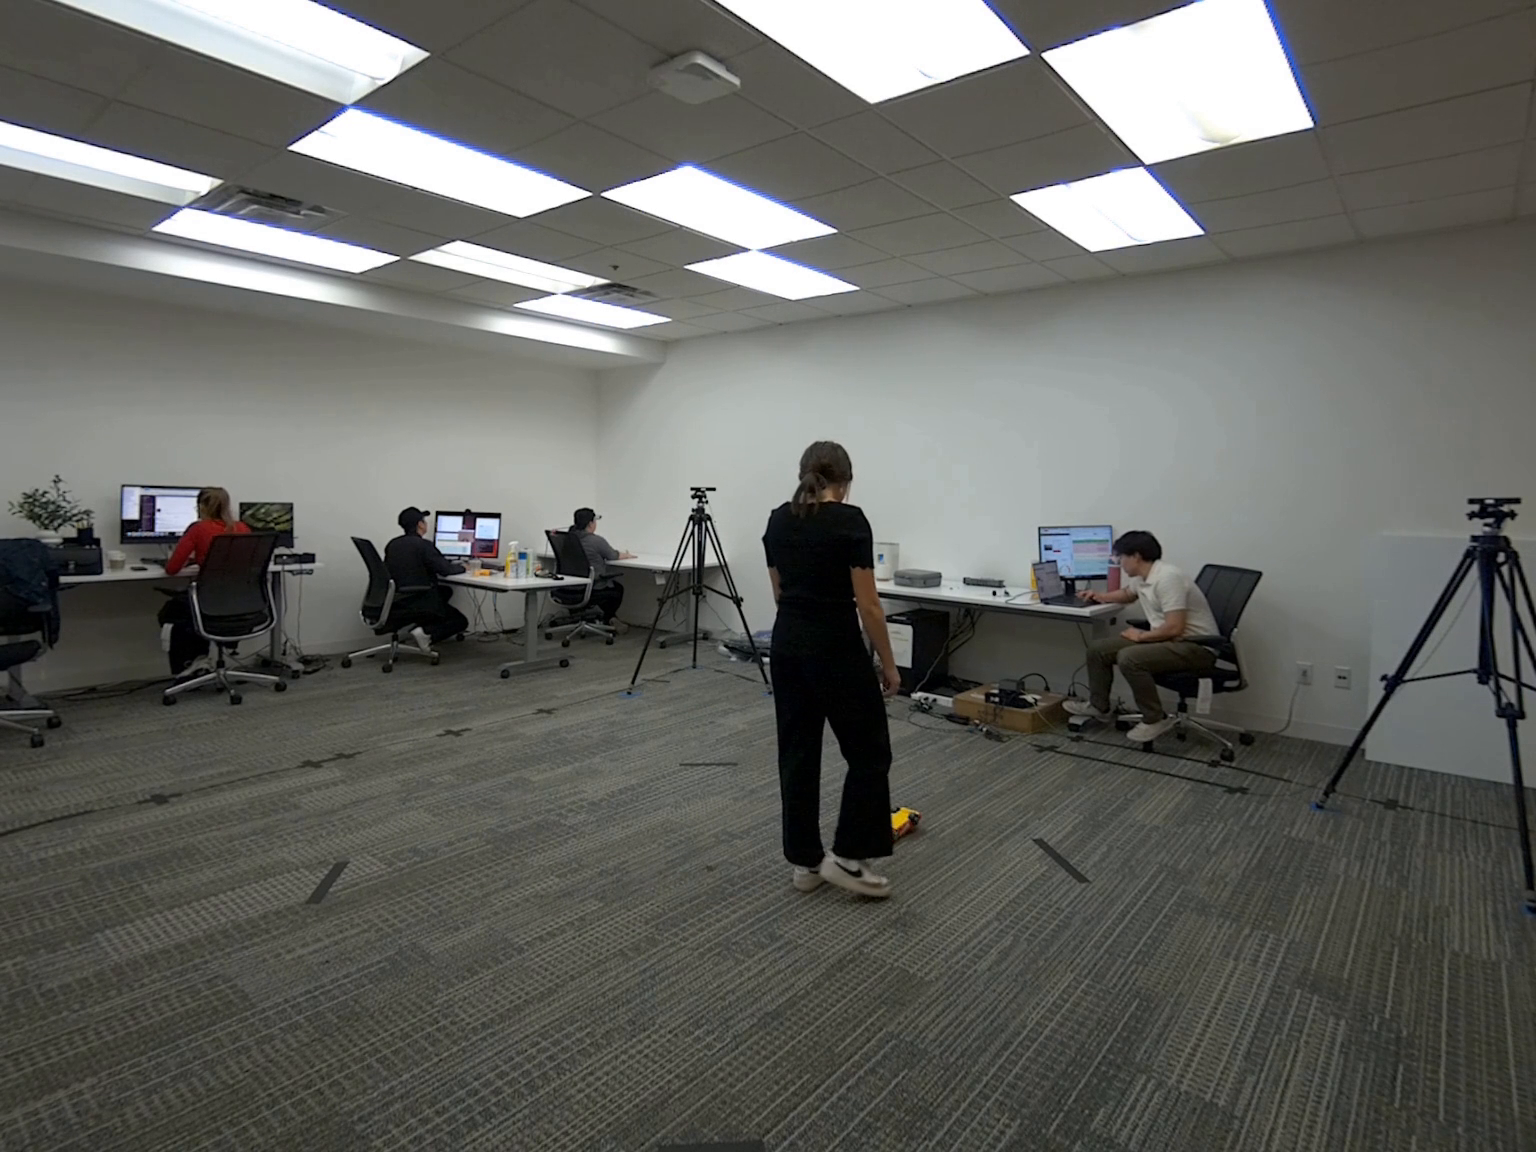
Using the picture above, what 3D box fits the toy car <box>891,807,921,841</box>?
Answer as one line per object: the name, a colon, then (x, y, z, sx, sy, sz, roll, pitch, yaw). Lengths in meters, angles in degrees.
toy car: (0.524, 1.005, 3.480, 0.135, 0.083, 0.247, 5, 7, 44)
